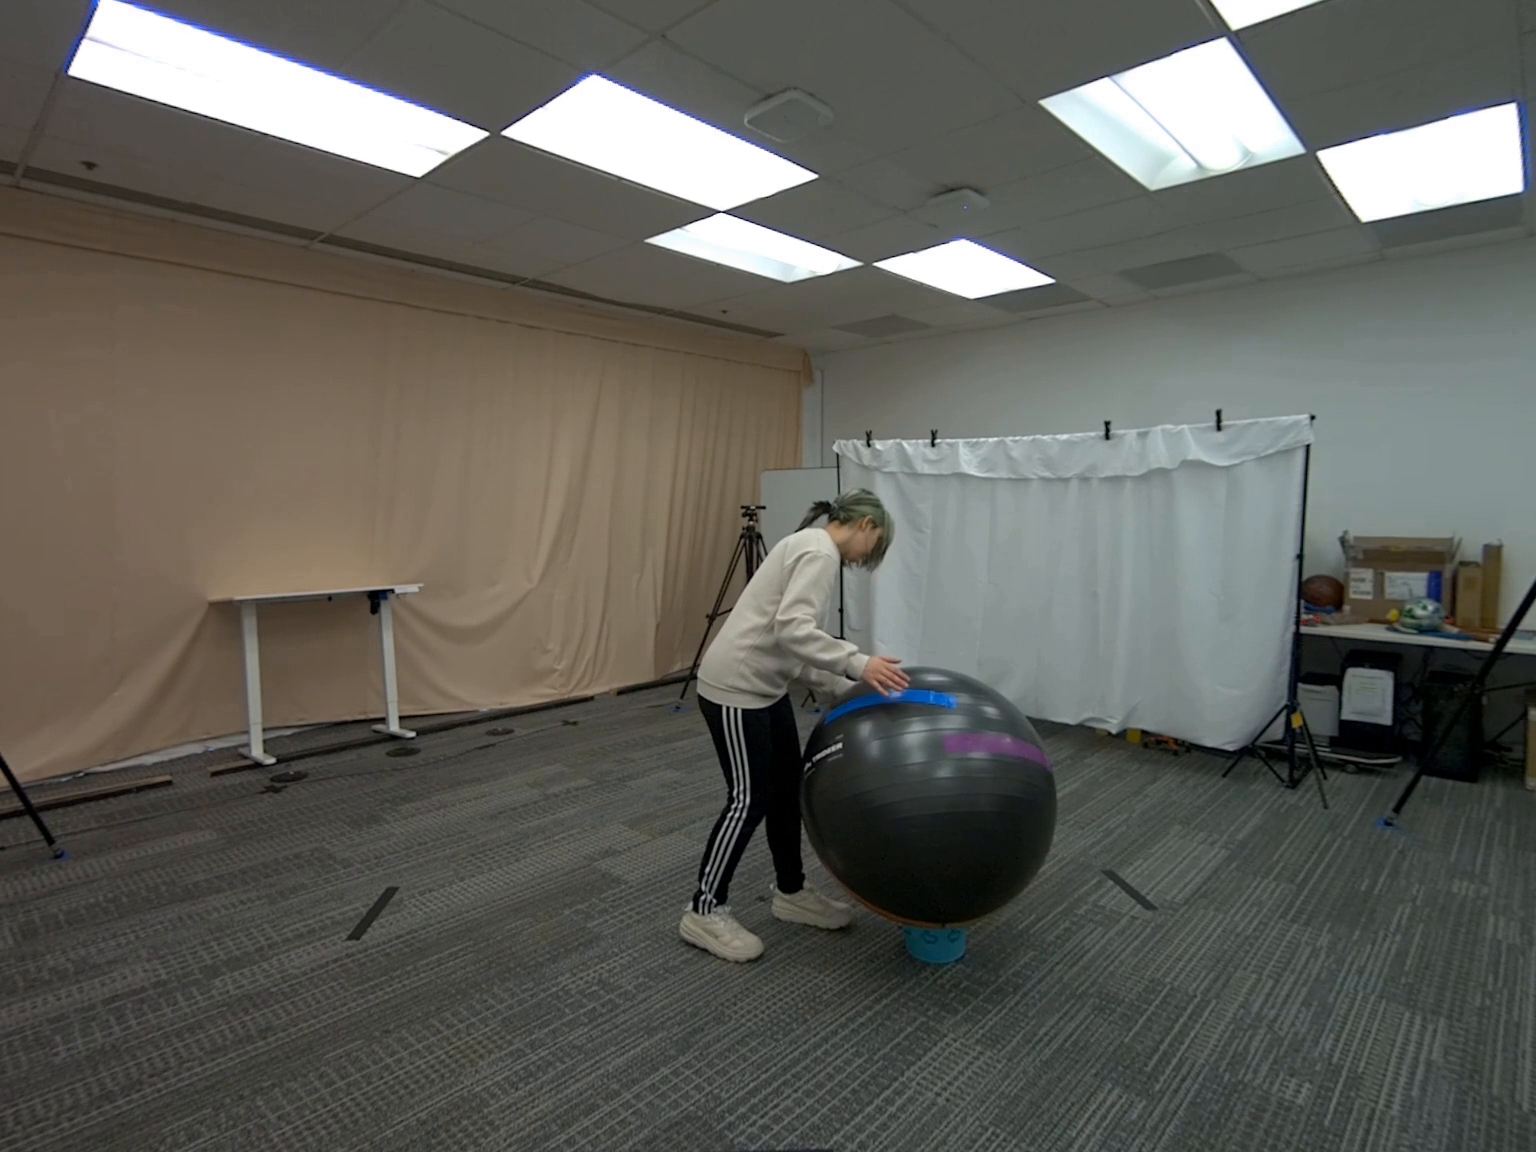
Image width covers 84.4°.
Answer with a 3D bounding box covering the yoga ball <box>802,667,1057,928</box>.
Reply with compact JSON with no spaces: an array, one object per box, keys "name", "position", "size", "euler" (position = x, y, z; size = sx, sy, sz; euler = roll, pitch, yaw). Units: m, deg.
[{"name":"yoga ball","position":[0.490,0.662,2.569],"size":[0.757,0.756,0.760],"euler":[0,4,-2]}]
